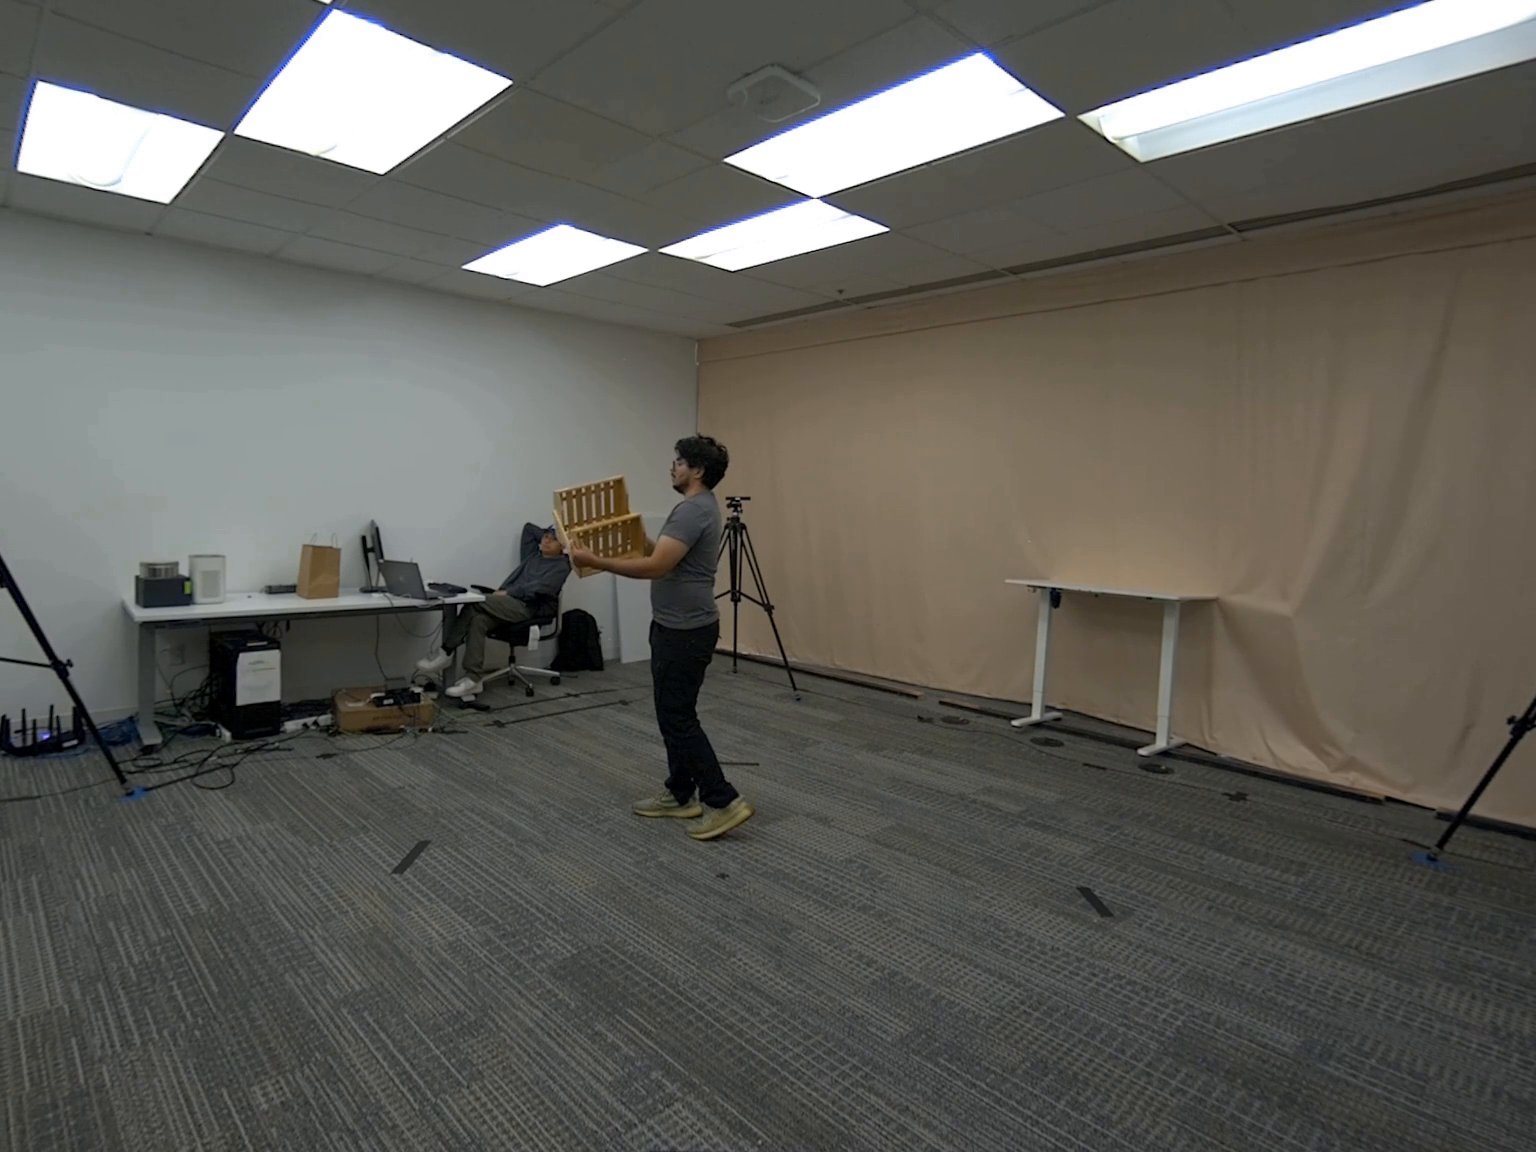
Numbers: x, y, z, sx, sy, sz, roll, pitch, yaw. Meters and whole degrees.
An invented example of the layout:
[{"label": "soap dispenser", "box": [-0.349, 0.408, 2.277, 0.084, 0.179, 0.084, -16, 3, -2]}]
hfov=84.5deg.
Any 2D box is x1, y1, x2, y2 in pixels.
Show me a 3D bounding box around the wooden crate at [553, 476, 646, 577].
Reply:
[{"label": "wooden crate", "box": [-0.709, -0.215, 3.536, 0.320, 0.296, 0.282, -16, 41, -26]}]
